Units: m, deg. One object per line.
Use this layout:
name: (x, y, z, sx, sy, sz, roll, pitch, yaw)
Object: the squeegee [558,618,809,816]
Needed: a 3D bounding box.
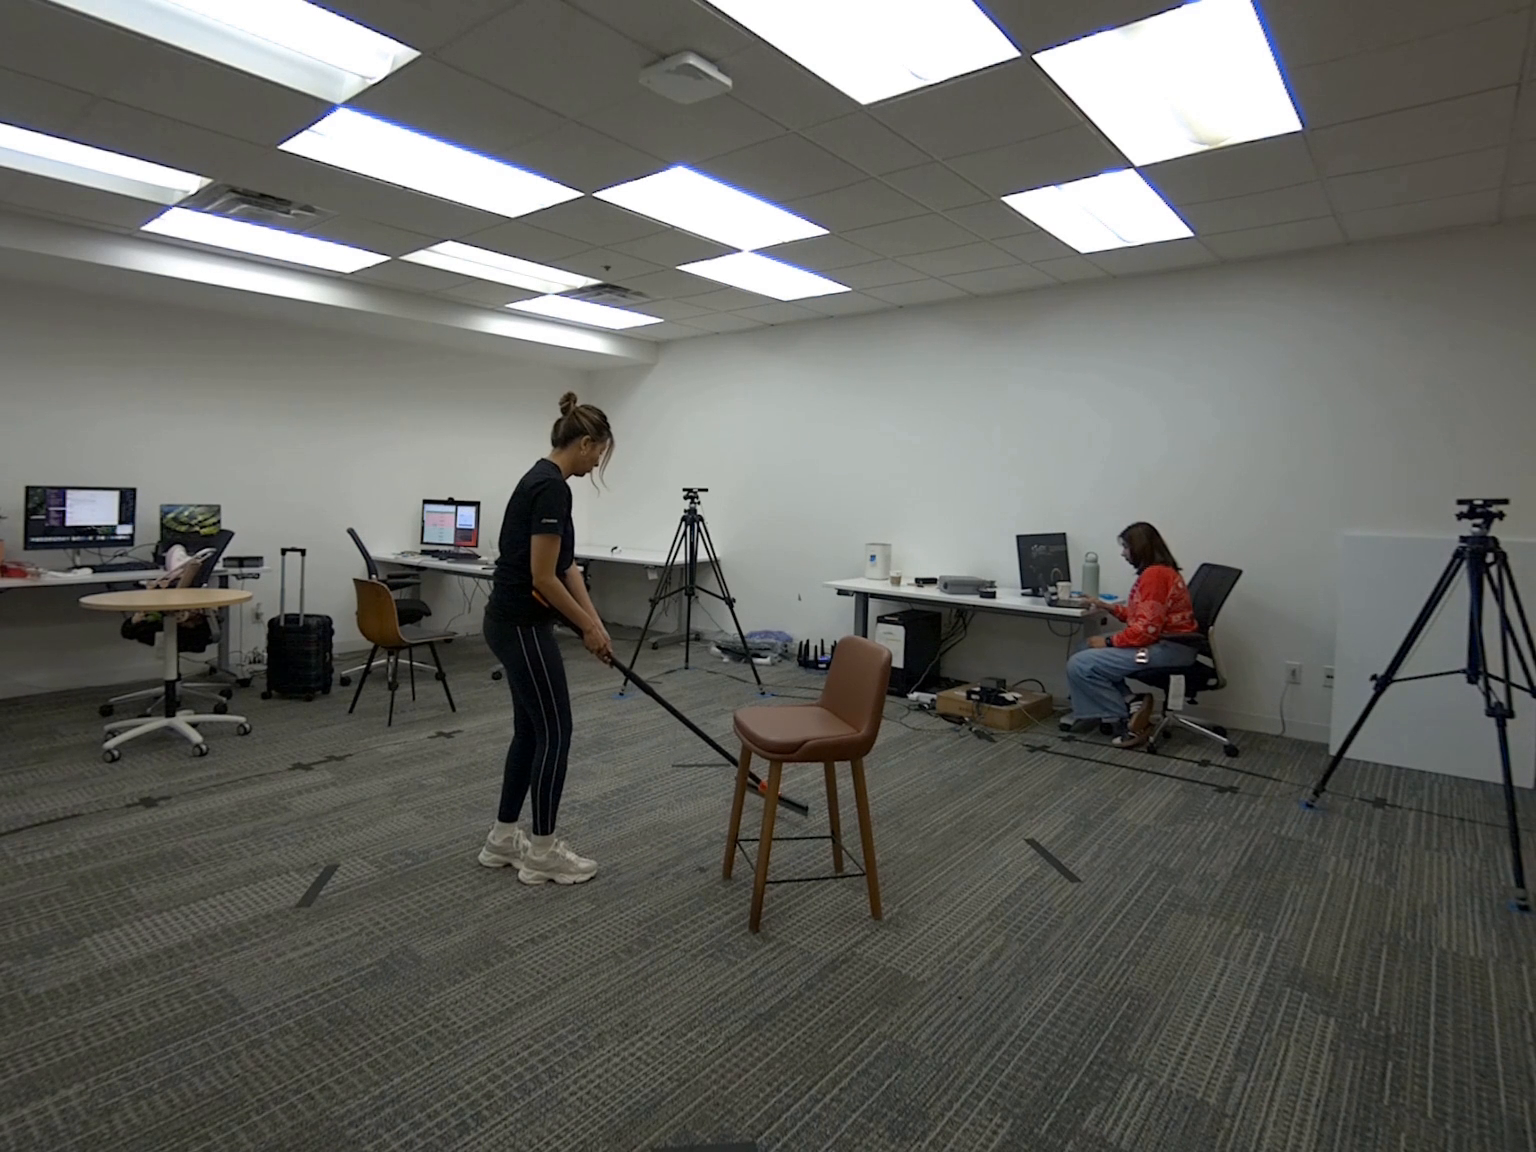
squeegee: (-0.395, 0.504, 3.290, 0.453, 0.053, 1.478, 8, -31, 49)
